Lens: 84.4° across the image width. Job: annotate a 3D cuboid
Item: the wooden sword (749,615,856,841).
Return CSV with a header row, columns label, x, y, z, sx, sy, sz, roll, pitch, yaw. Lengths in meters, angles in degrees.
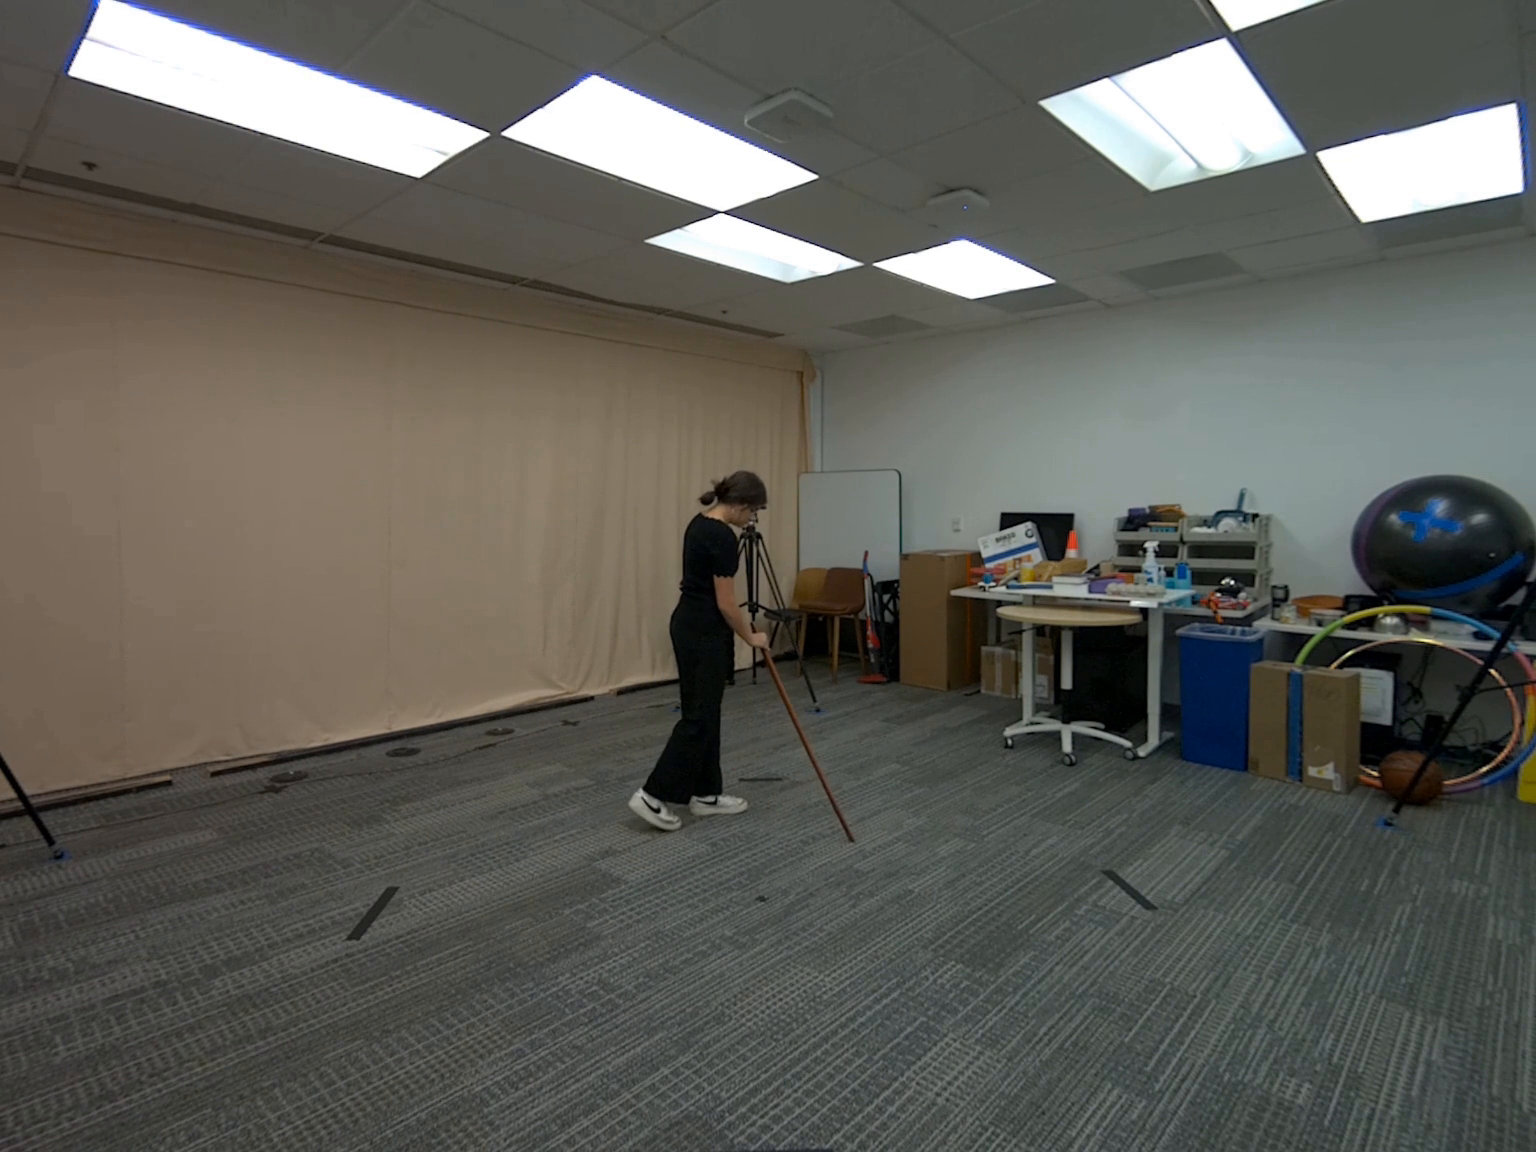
label,x,y,z,sx,sy,sz,roll,pitch,yaw
wooden sword,0.151,0.672,3.667,0.052,1.045,0.023,-36,-23,27
